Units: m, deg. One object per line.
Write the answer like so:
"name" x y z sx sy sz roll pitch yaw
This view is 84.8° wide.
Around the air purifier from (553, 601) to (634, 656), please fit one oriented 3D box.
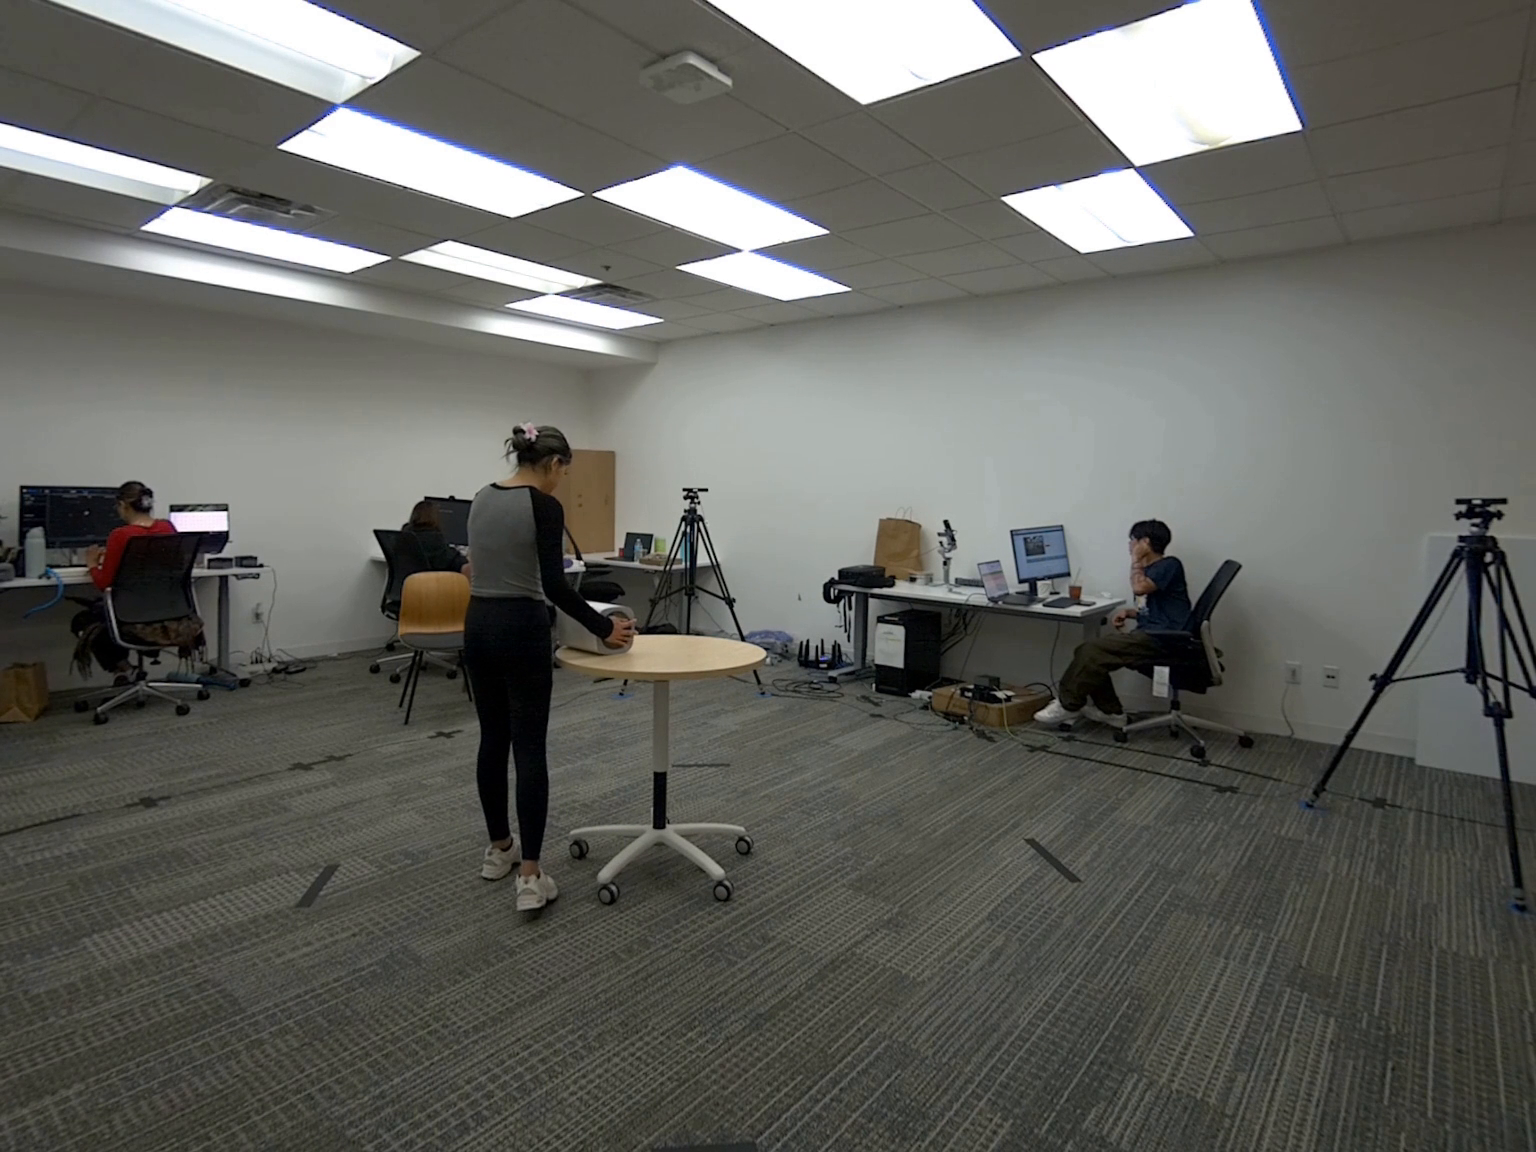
"air purifier" -0.649 0.184 3.118 0.274 0.171 0.166 5 6 43
